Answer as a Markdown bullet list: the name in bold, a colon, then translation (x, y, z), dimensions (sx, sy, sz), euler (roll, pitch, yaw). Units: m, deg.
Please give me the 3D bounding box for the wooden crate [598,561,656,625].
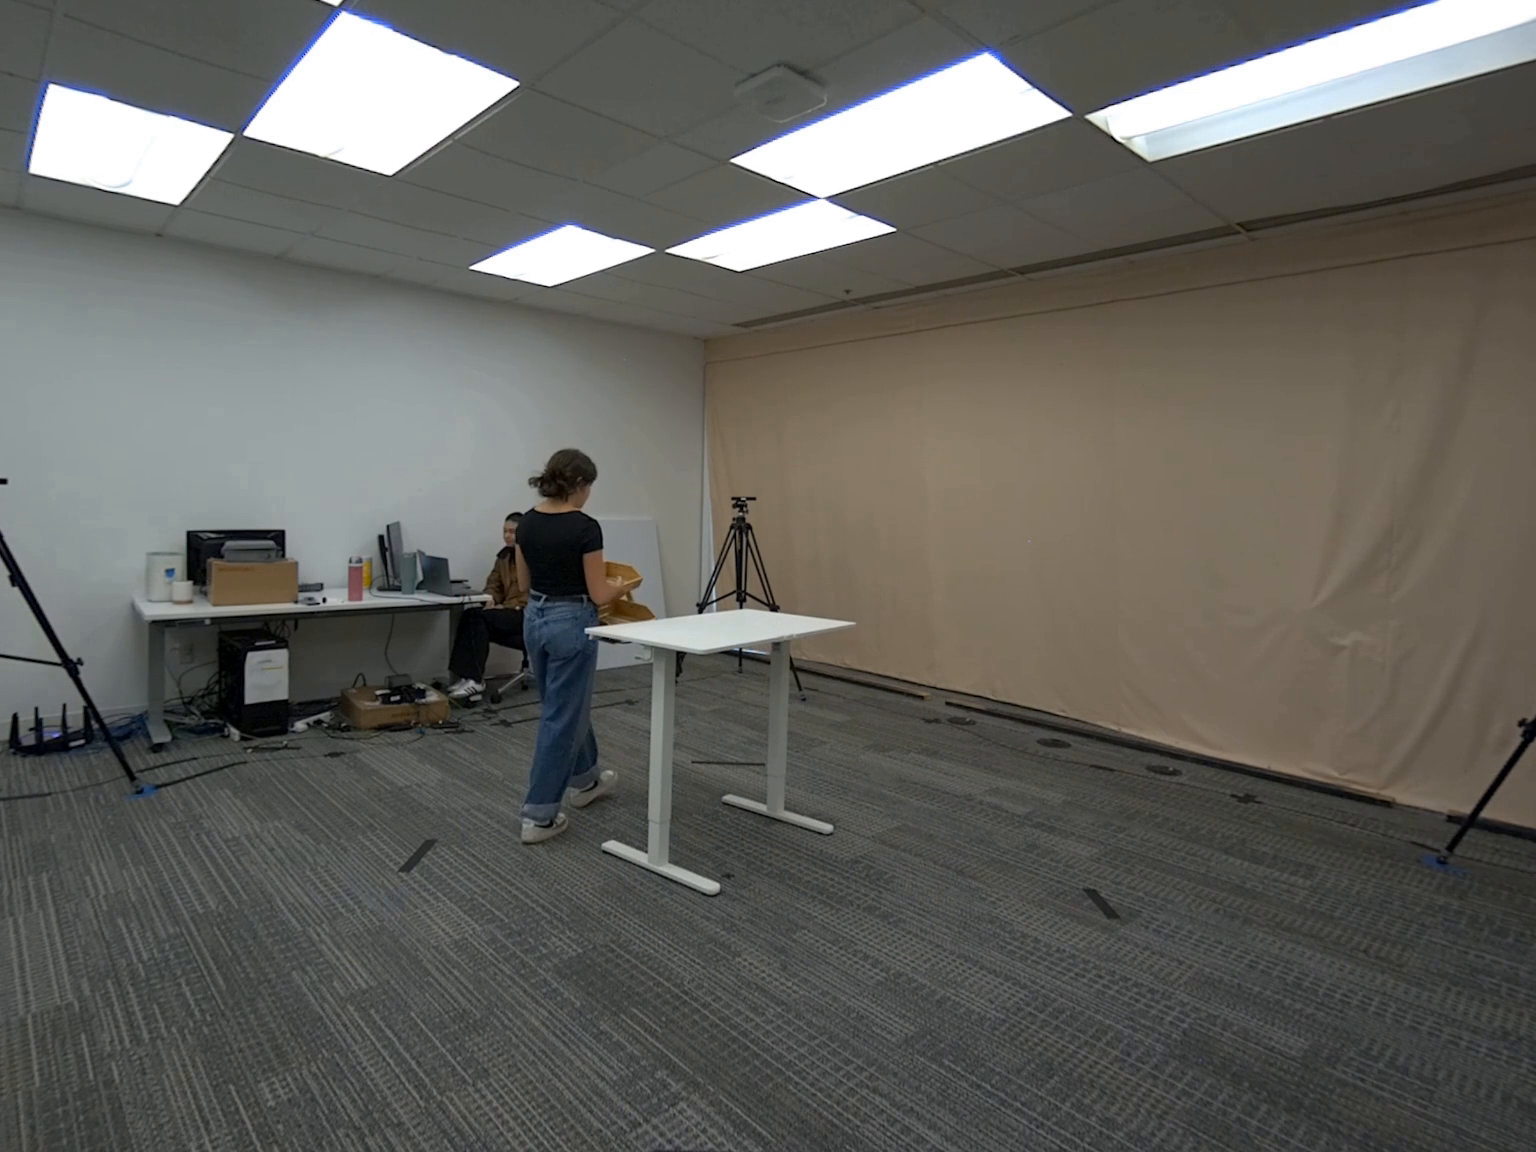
- **wooden crate**: translation (-0.694, 0.105, 3.724), dimensions (0.308, 0.271, 0.320), euler (11, 16, 25)
